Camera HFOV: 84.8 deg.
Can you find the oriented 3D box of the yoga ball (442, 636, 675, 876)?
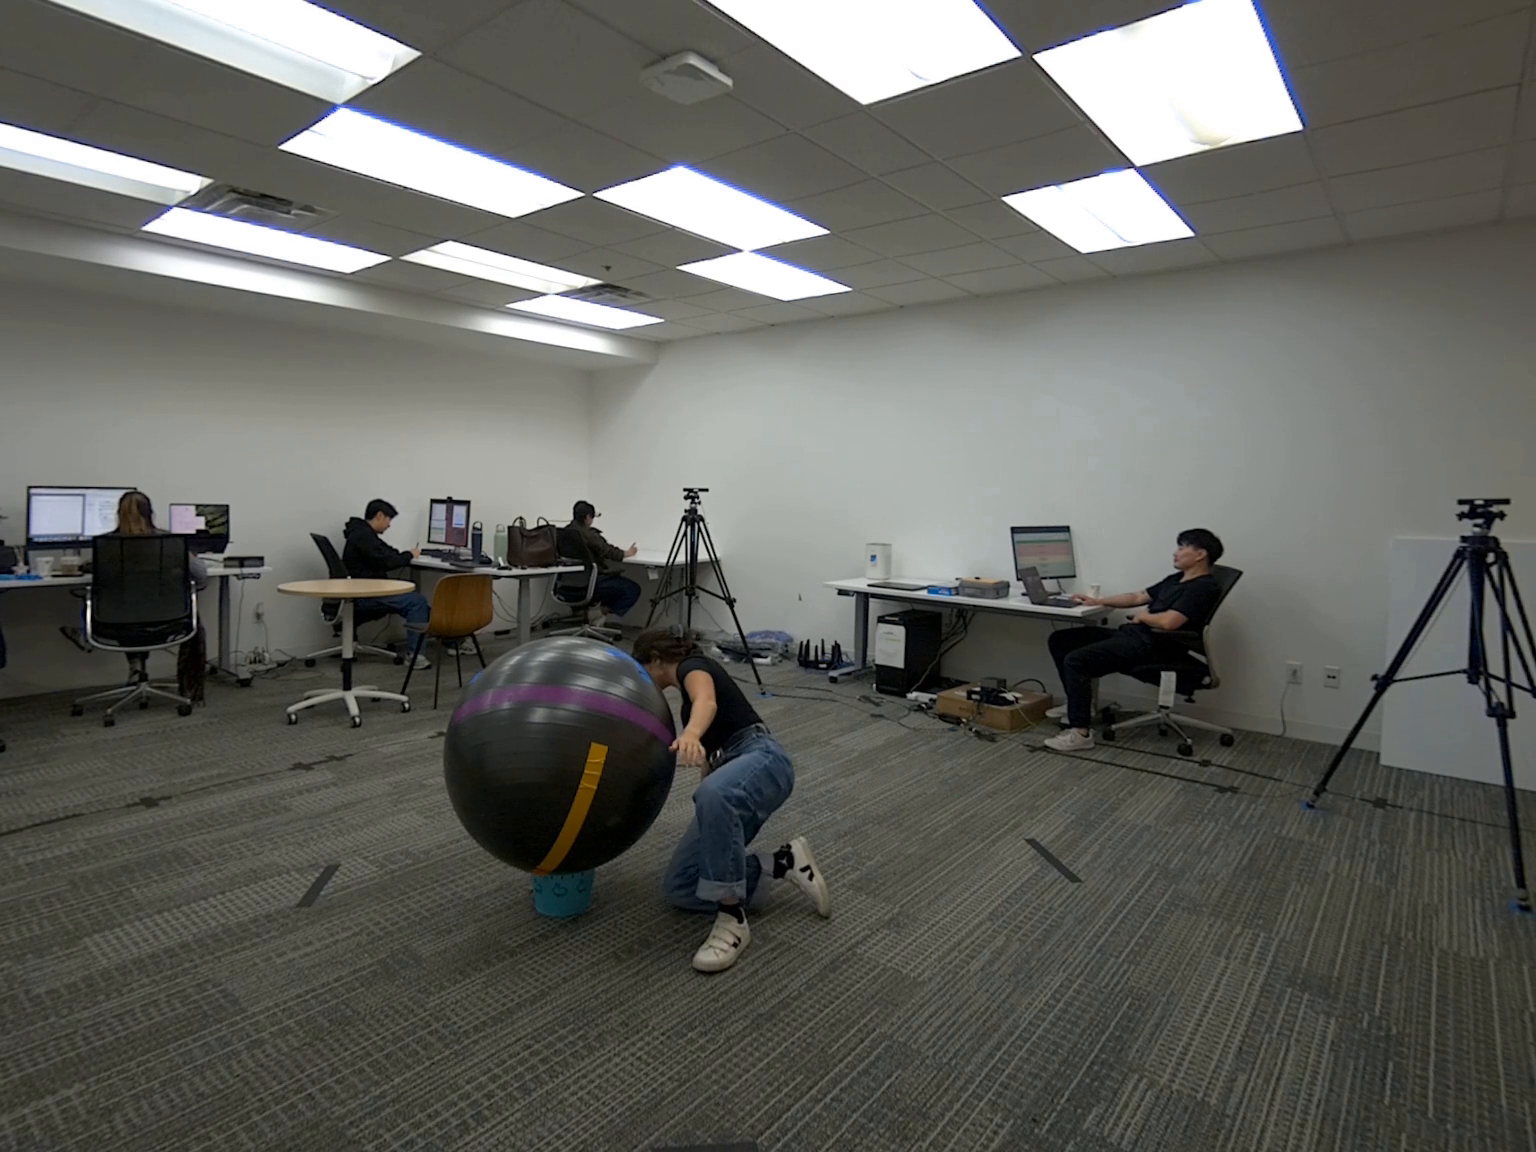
[{"bbox_3d":[-0.694,0.580,2.801,0.757,0.755,0.762,1,4,-2],"label":"yoga ball"}]
